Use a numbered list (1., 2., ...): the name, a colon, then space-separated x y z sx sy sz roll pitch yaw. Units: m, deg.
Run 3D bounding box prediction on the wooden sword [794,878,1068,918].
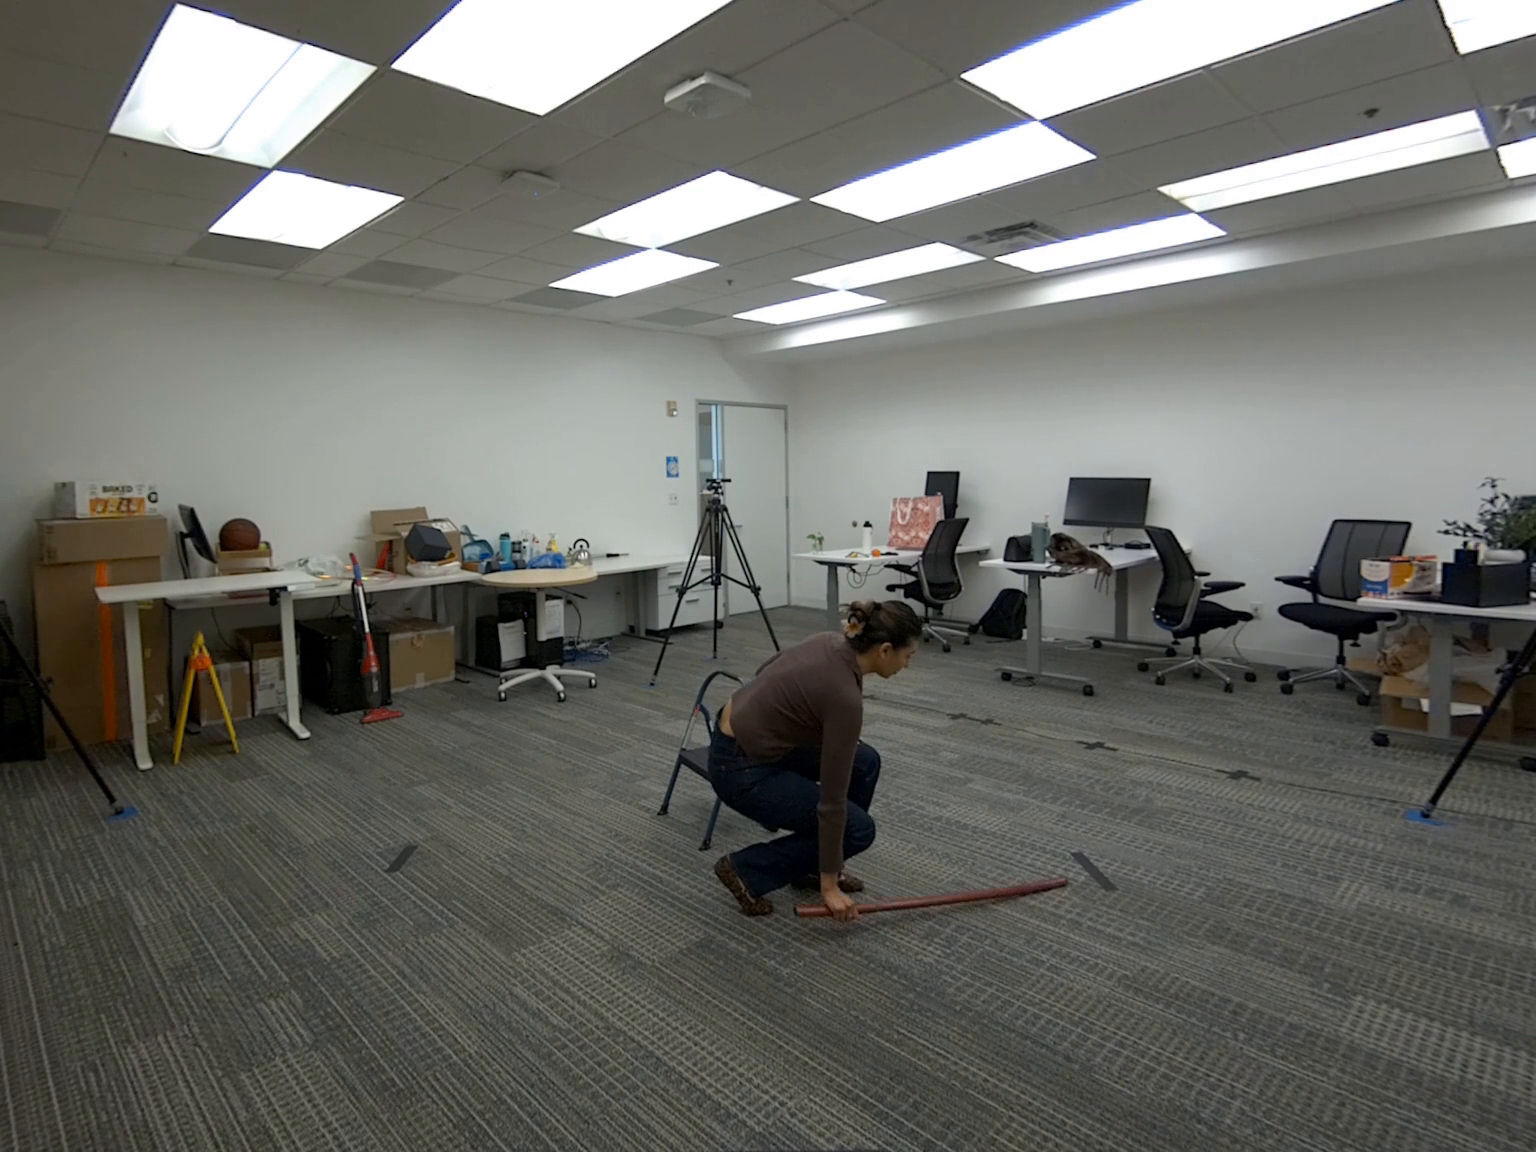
1. wooden sword: 0.558 1.027 2.733 1.005 0.024 0.053 1 18 -20
